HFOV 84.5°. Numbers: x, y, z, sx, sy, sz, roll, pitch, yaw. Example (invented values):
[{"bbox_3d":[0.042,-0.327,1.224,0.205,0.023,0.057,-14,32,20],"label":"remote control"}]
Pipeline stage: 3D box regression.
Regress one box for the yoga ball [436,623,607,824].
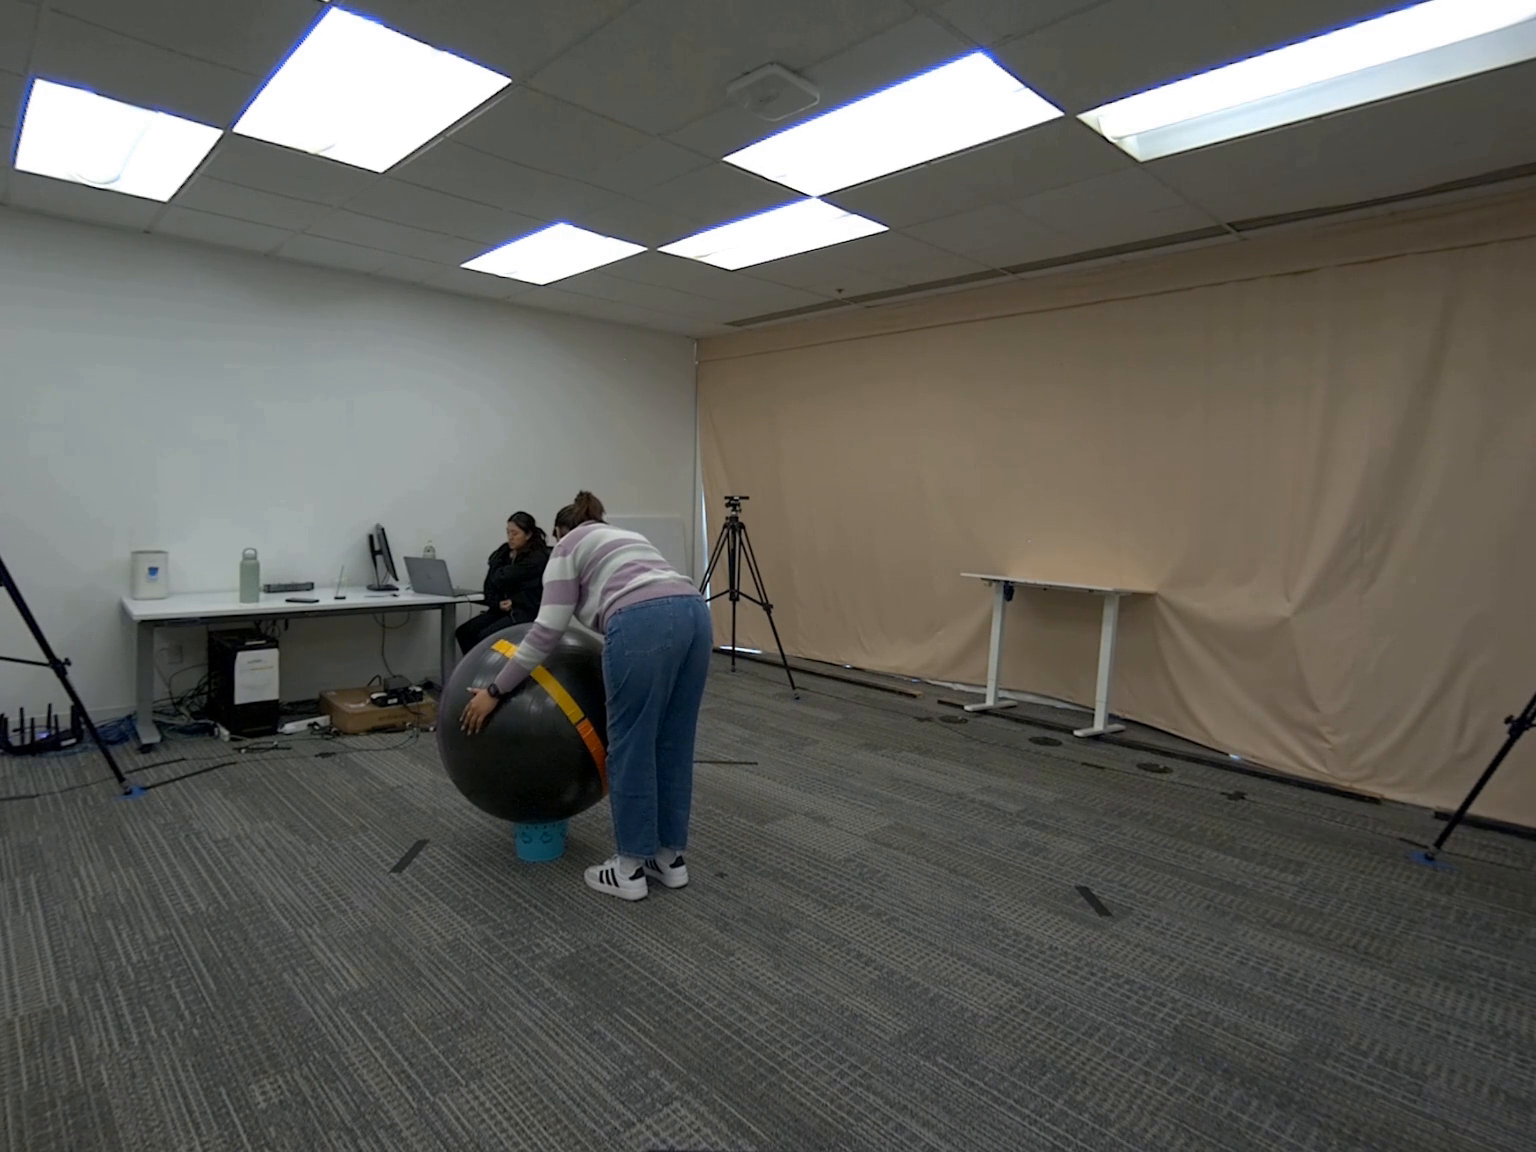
[{"bbox_3d":[-0.898,0.560,3.258,0.757,0.756,0.761,1,4,-1],"label":"yoga ball"}]
